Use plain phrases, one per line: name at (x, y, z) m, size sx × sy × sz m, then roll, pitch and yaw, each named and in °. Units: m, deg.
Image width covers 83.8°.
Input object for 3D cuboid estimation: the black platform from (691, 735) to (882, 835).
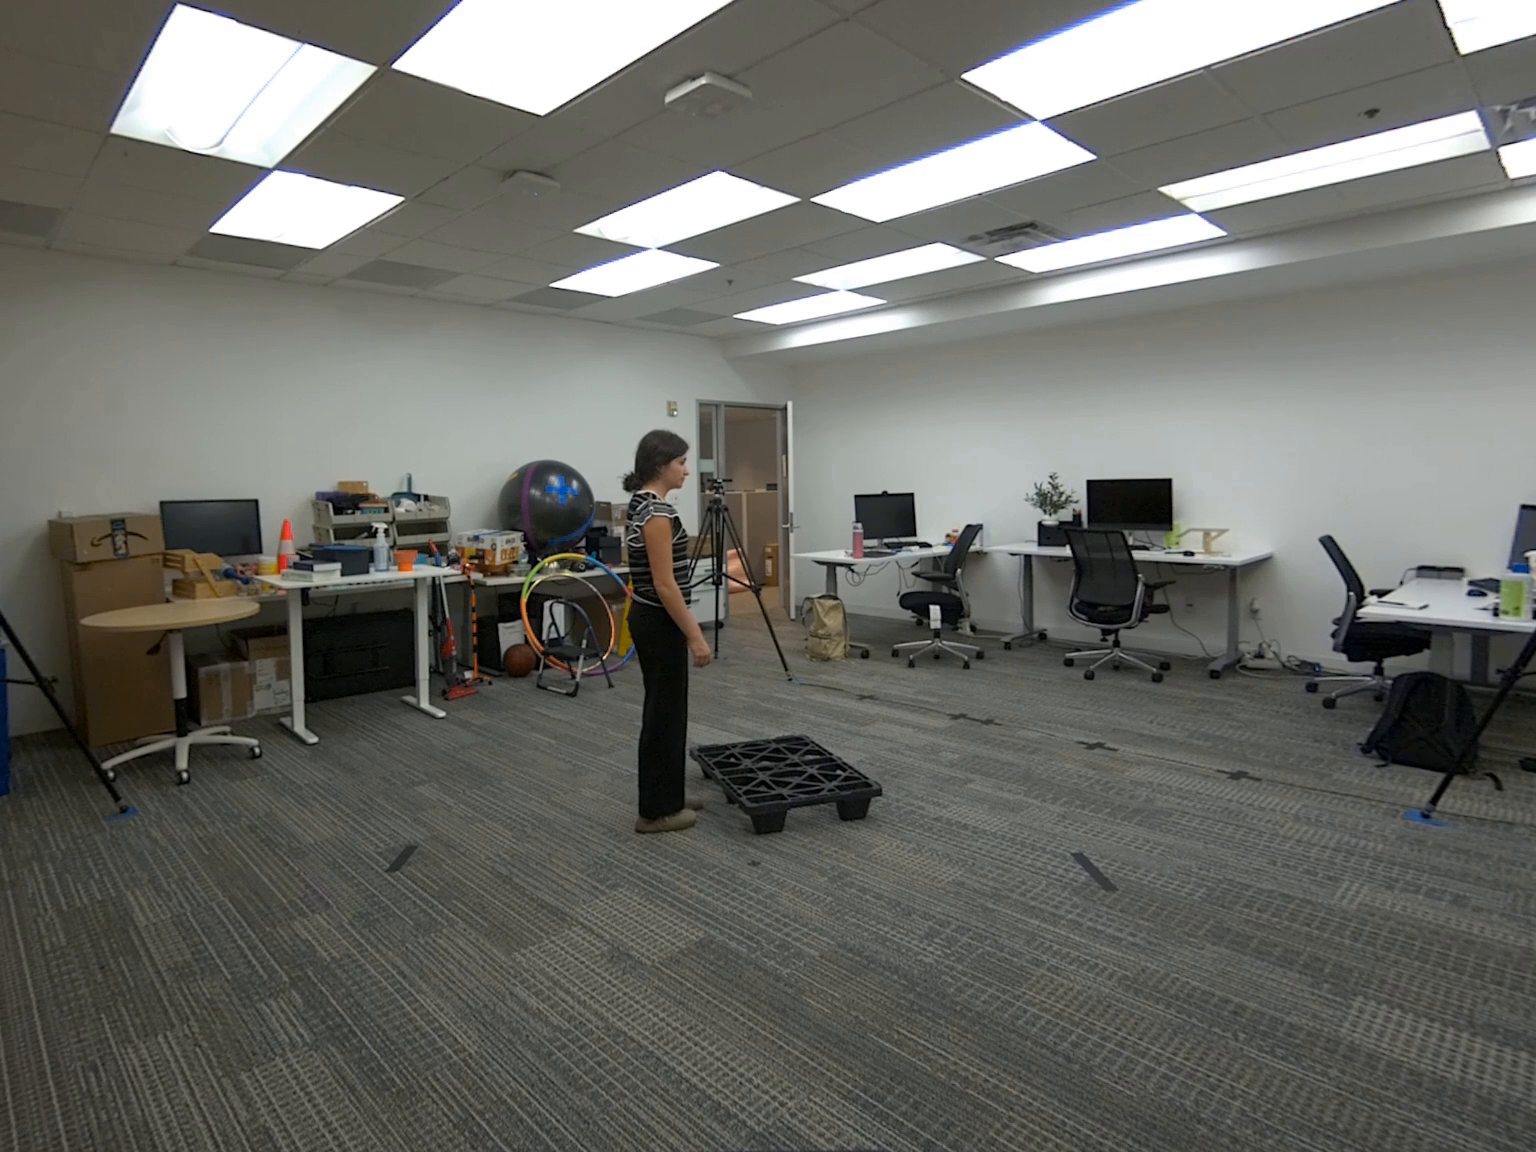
black platform at (0.046, 0.907, 3.769) m, size 0.595 × 0.142 × 0.823 m, roll -4°, pitch 7°, yaw -21°
